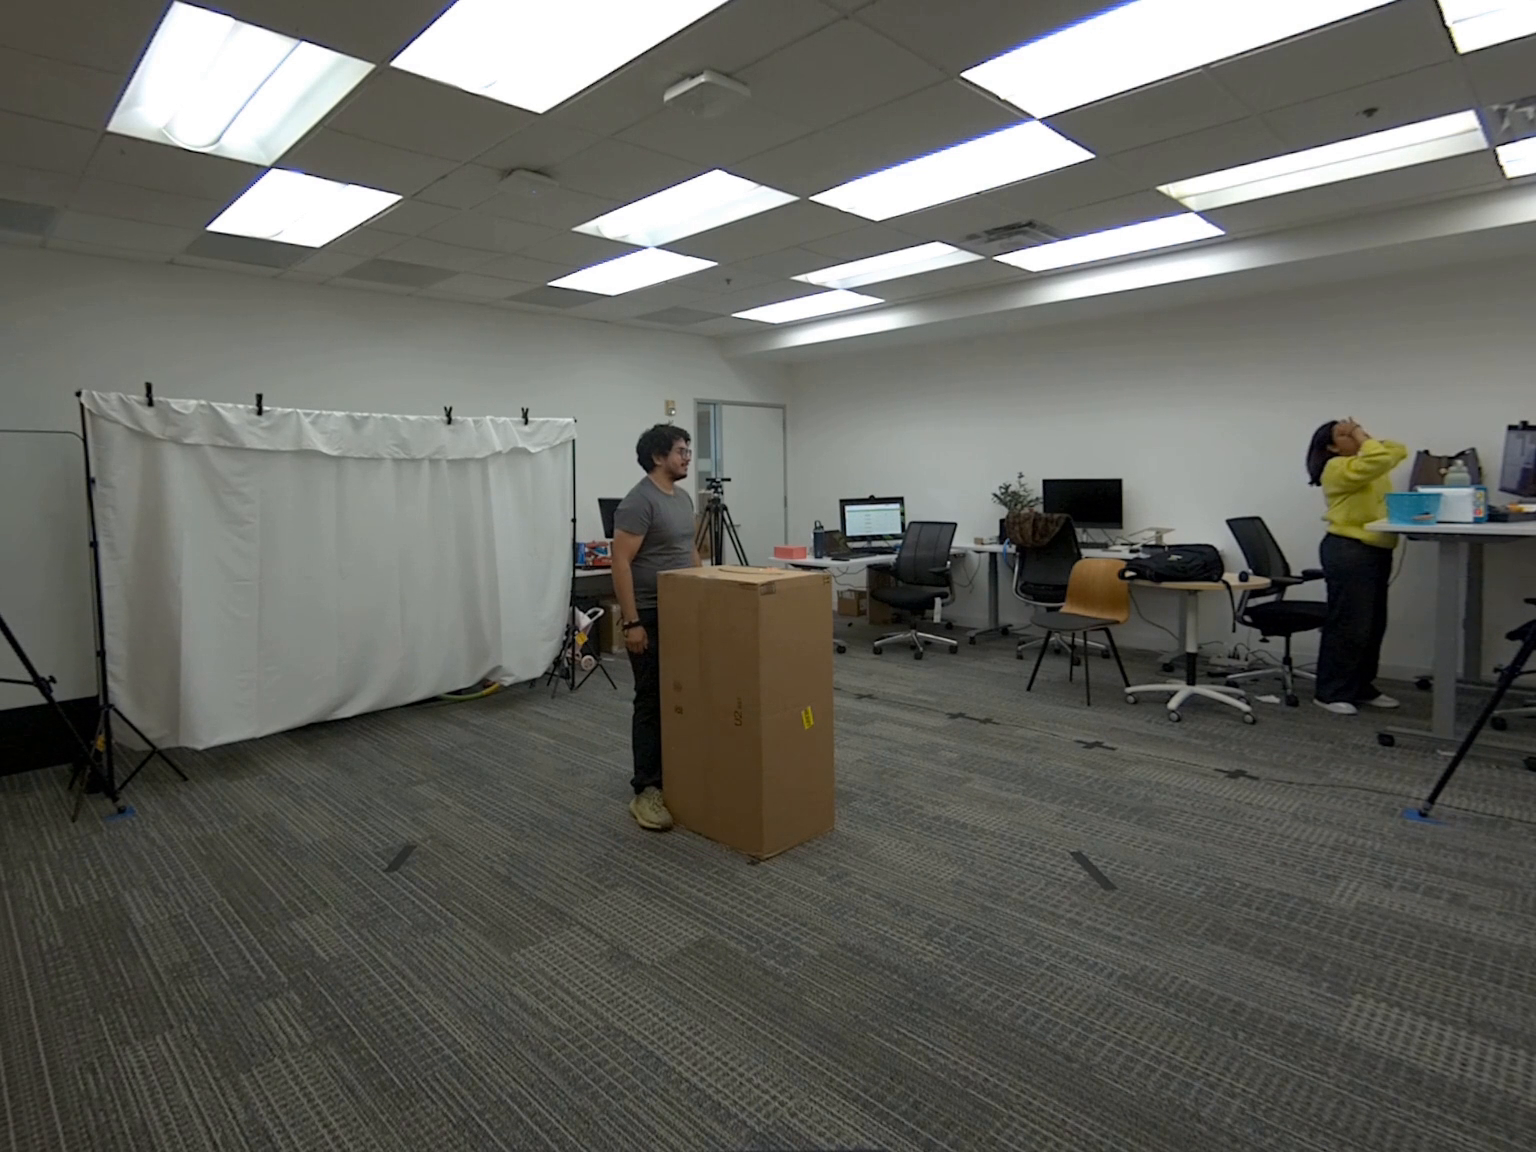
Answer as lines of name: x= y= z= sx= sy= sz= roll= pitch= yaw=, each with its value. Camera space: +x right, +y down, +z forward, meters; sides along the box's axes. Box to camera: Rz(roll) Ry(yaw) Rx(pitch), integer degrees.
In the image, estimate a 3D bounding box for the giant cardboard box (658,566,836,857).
giant cardboard box: x=-0.084 y=0.499 z=3.434 sx=0.602 sy=1.023 sz=0.435 roll=3 pitch=6 yaw=44
